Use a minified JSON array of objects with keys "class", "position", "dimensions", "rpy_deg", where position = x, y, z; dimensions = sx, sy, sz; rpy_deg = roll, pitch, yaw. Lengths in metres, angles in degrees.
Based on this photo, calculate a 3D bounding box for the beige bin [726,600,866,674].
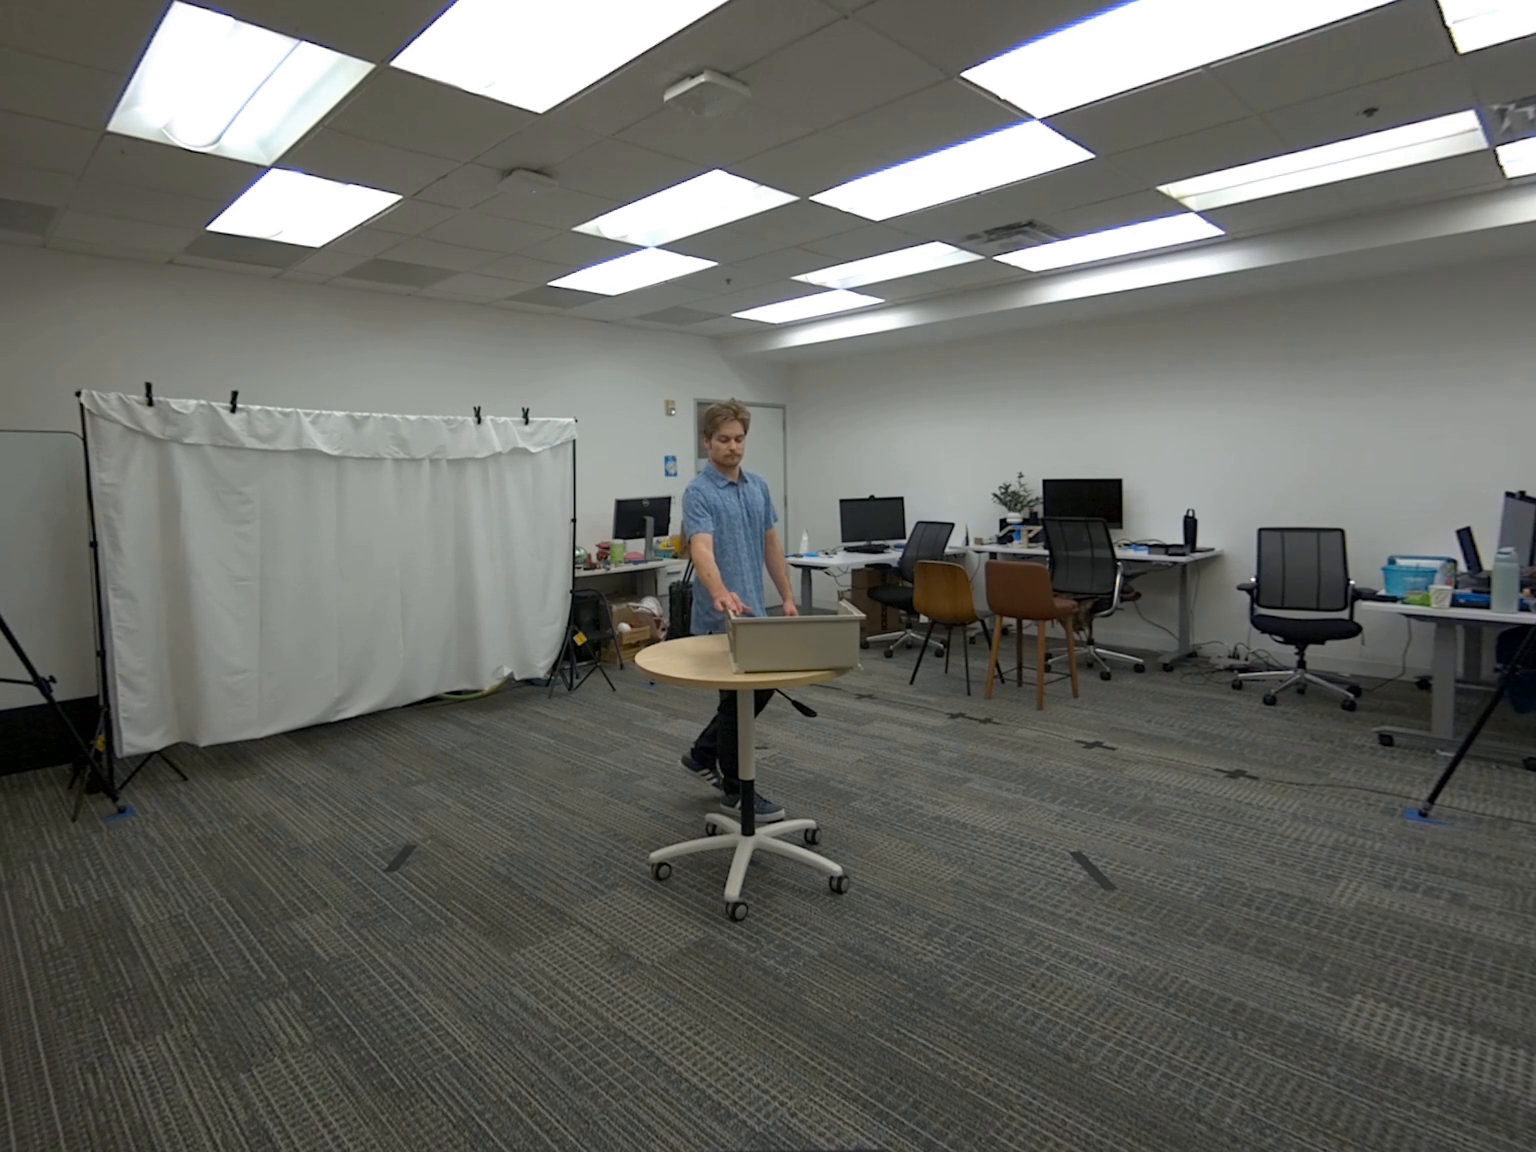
[{"class":"beige bin","position":[0.075,0.189,2.869],"dimensions":[0.421,0.187,0.381],"rpy_deg":[-1,9,-4]}]
